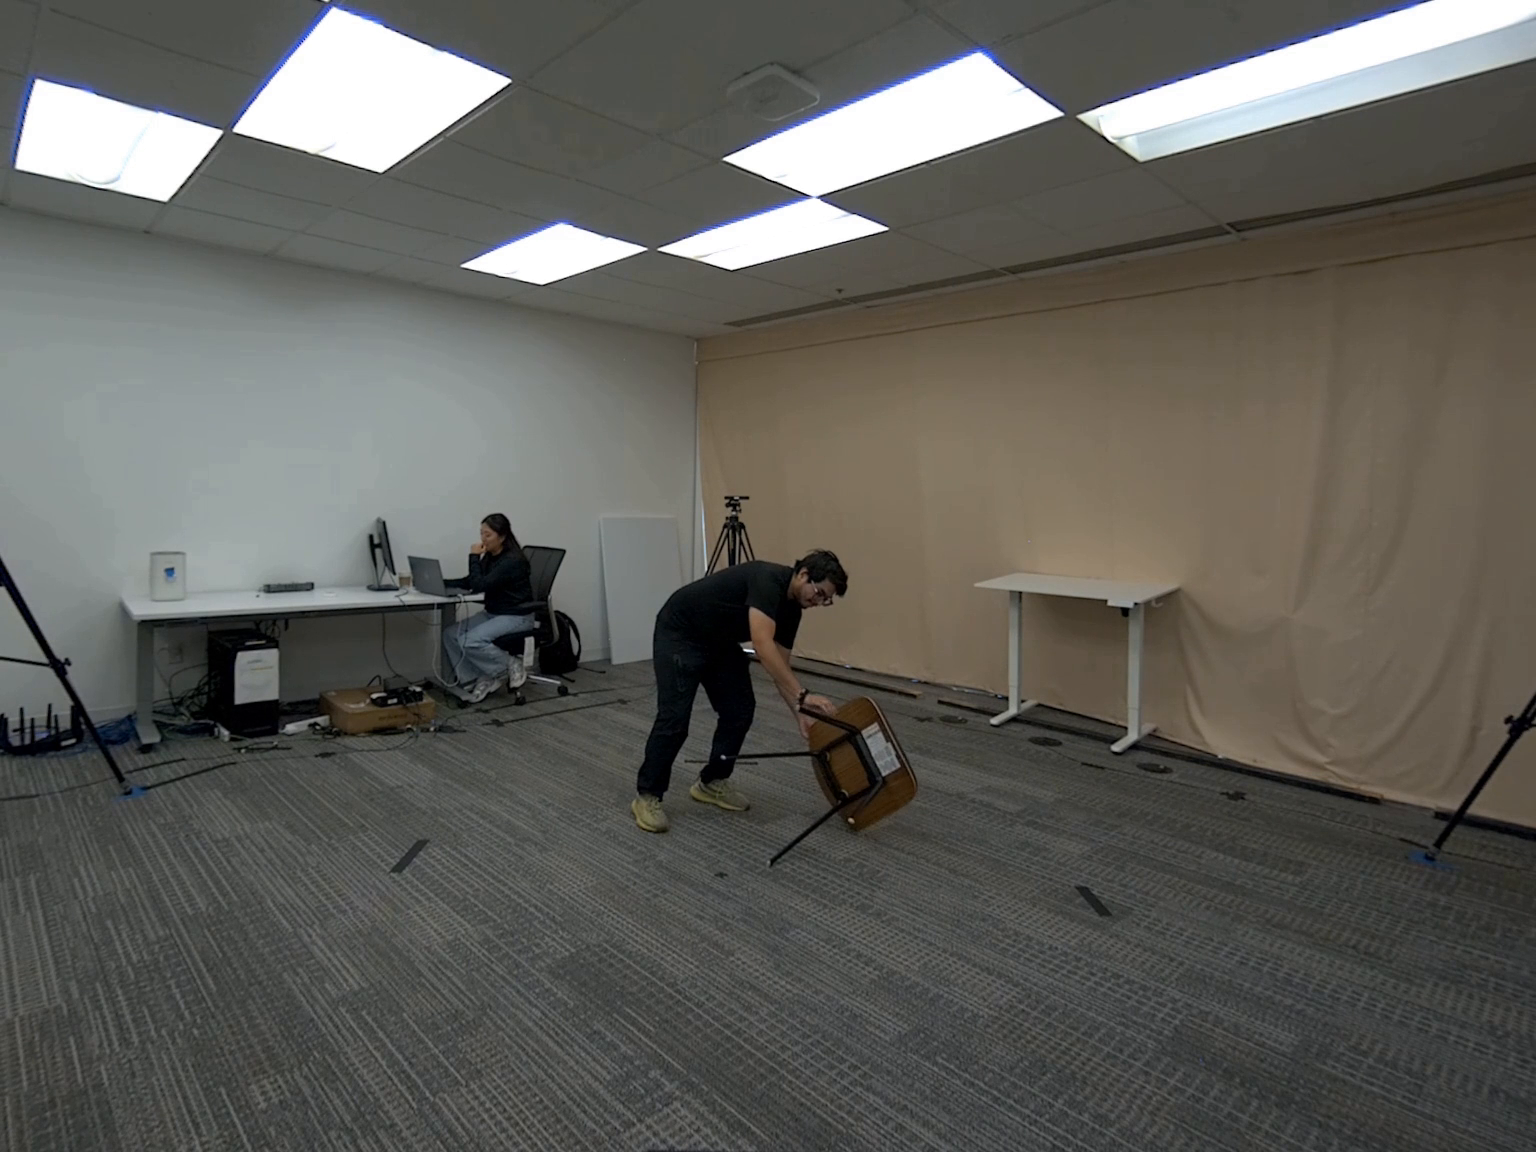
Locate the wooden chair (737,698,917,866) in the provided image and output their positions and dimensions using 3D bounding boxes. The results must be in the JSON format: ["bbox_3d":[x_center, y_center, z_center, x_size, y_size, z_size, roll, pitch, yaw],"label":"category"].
[{"bbox_3d":[0.322,0.792,3.464,0.525,0.488,0.855,-38,-24,28],"label":"wooden chair"}]
